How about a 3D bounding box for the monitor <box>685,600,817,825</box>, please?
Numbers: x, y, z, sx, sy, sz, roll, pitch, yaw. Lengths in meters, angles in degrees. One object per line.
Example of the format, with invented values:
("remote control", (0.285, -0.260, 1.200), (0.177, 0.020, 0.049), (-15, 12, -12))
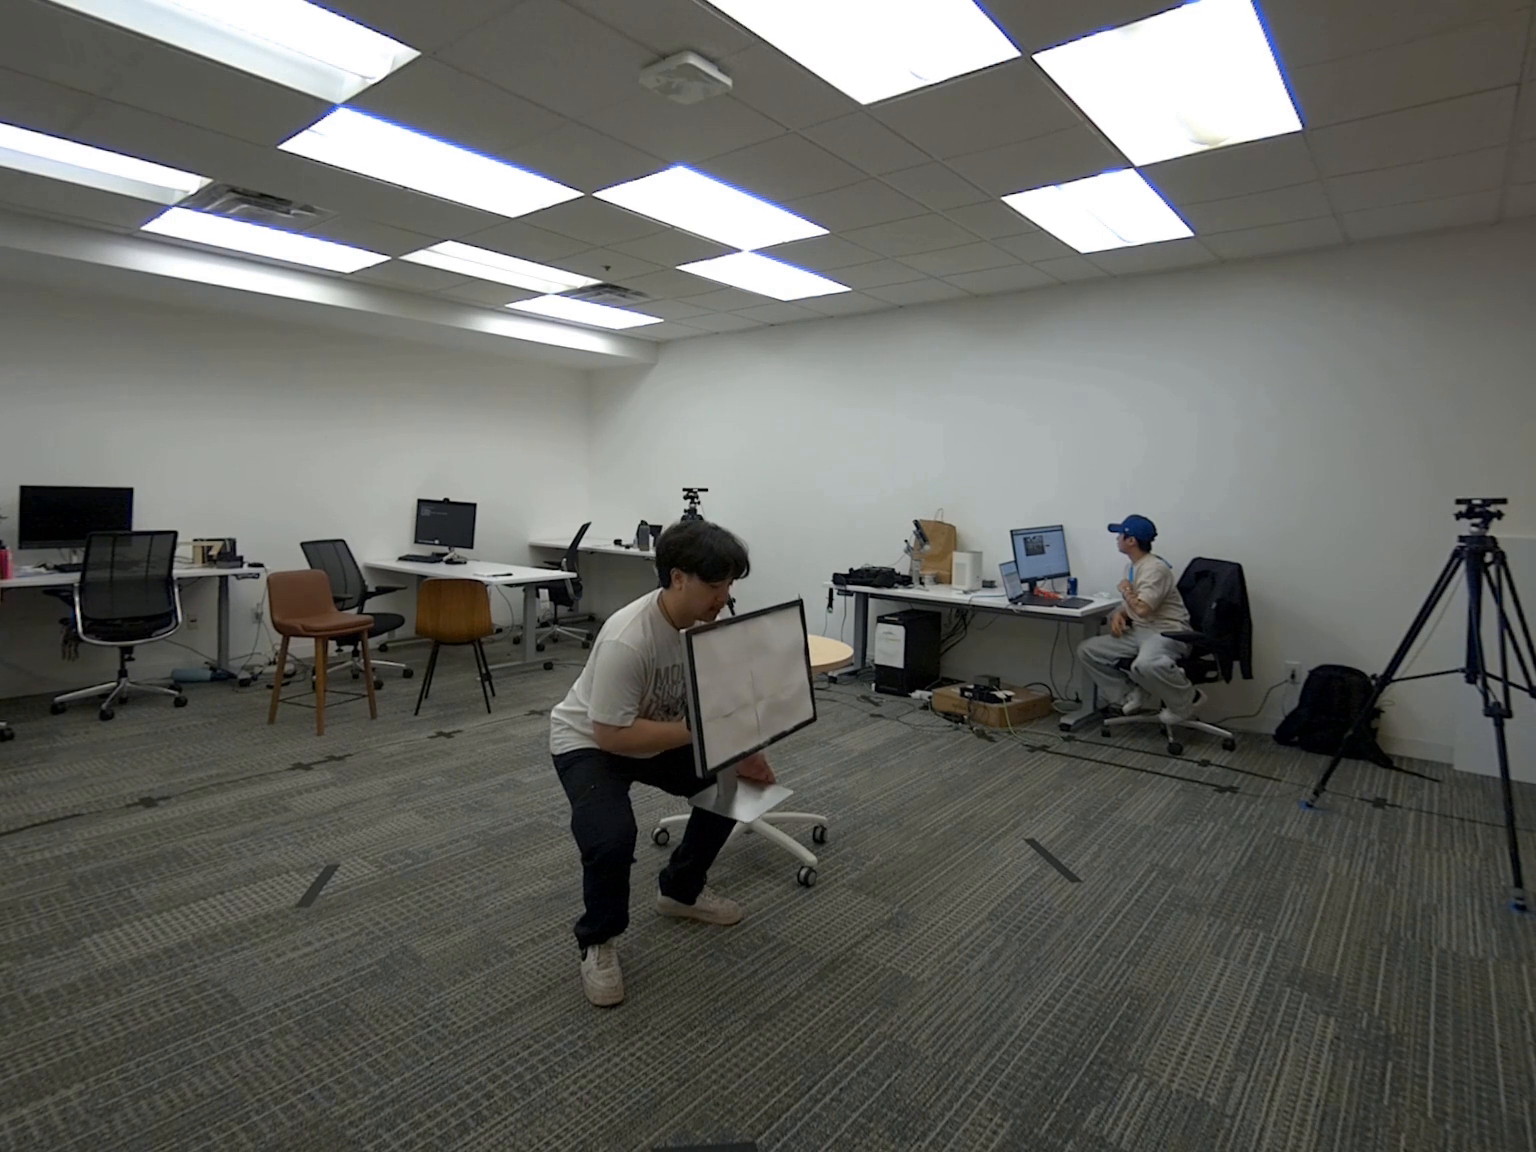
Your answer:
("monitor", (-0.098, 0.359, 2.327), (0.216, 0.551, 0.551), (1, 7, 34))
